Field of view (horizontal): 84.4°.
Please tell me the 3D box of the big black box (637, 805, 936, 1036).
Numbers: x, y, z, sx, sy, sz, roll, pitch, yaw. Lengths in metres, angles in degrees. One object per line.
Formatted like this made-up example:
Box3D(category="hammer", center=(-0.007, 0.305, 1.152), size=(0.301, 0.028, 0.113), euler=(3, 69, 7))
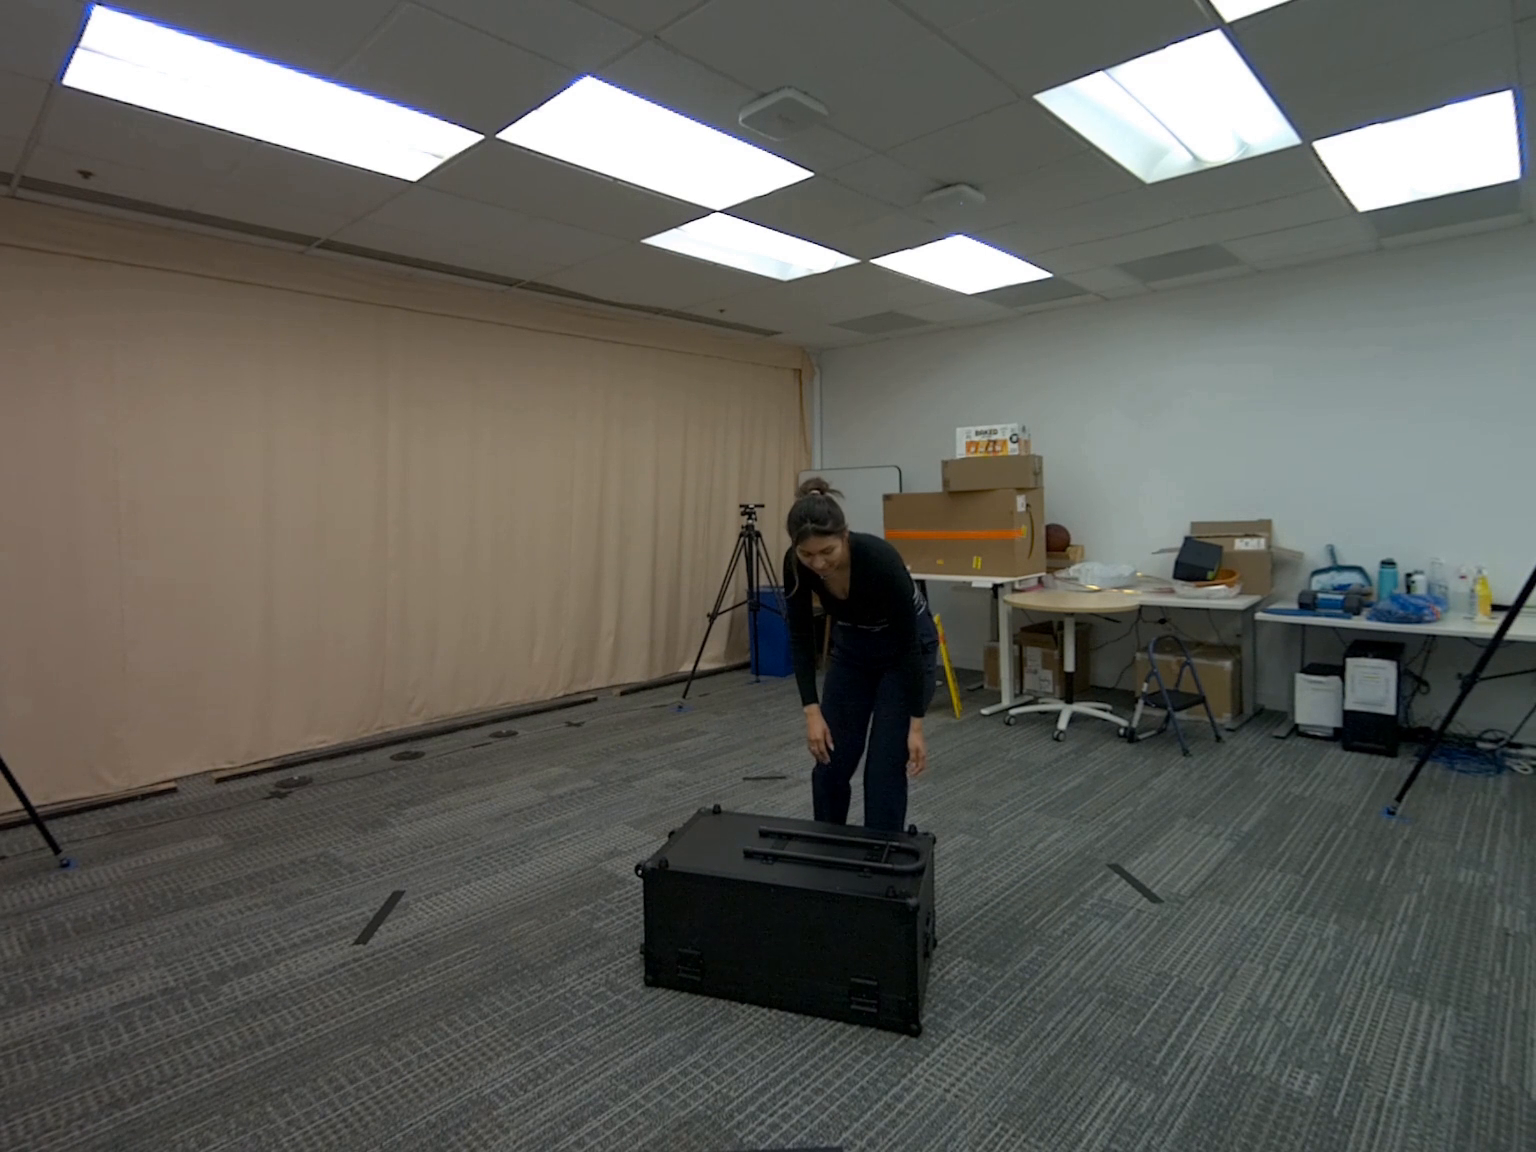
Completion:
Box3D(category="big black box", center=(0.043, 0.981, 2.539), size=(0.879, 0.395, 0.512), euler=(-1, 4, 19))
